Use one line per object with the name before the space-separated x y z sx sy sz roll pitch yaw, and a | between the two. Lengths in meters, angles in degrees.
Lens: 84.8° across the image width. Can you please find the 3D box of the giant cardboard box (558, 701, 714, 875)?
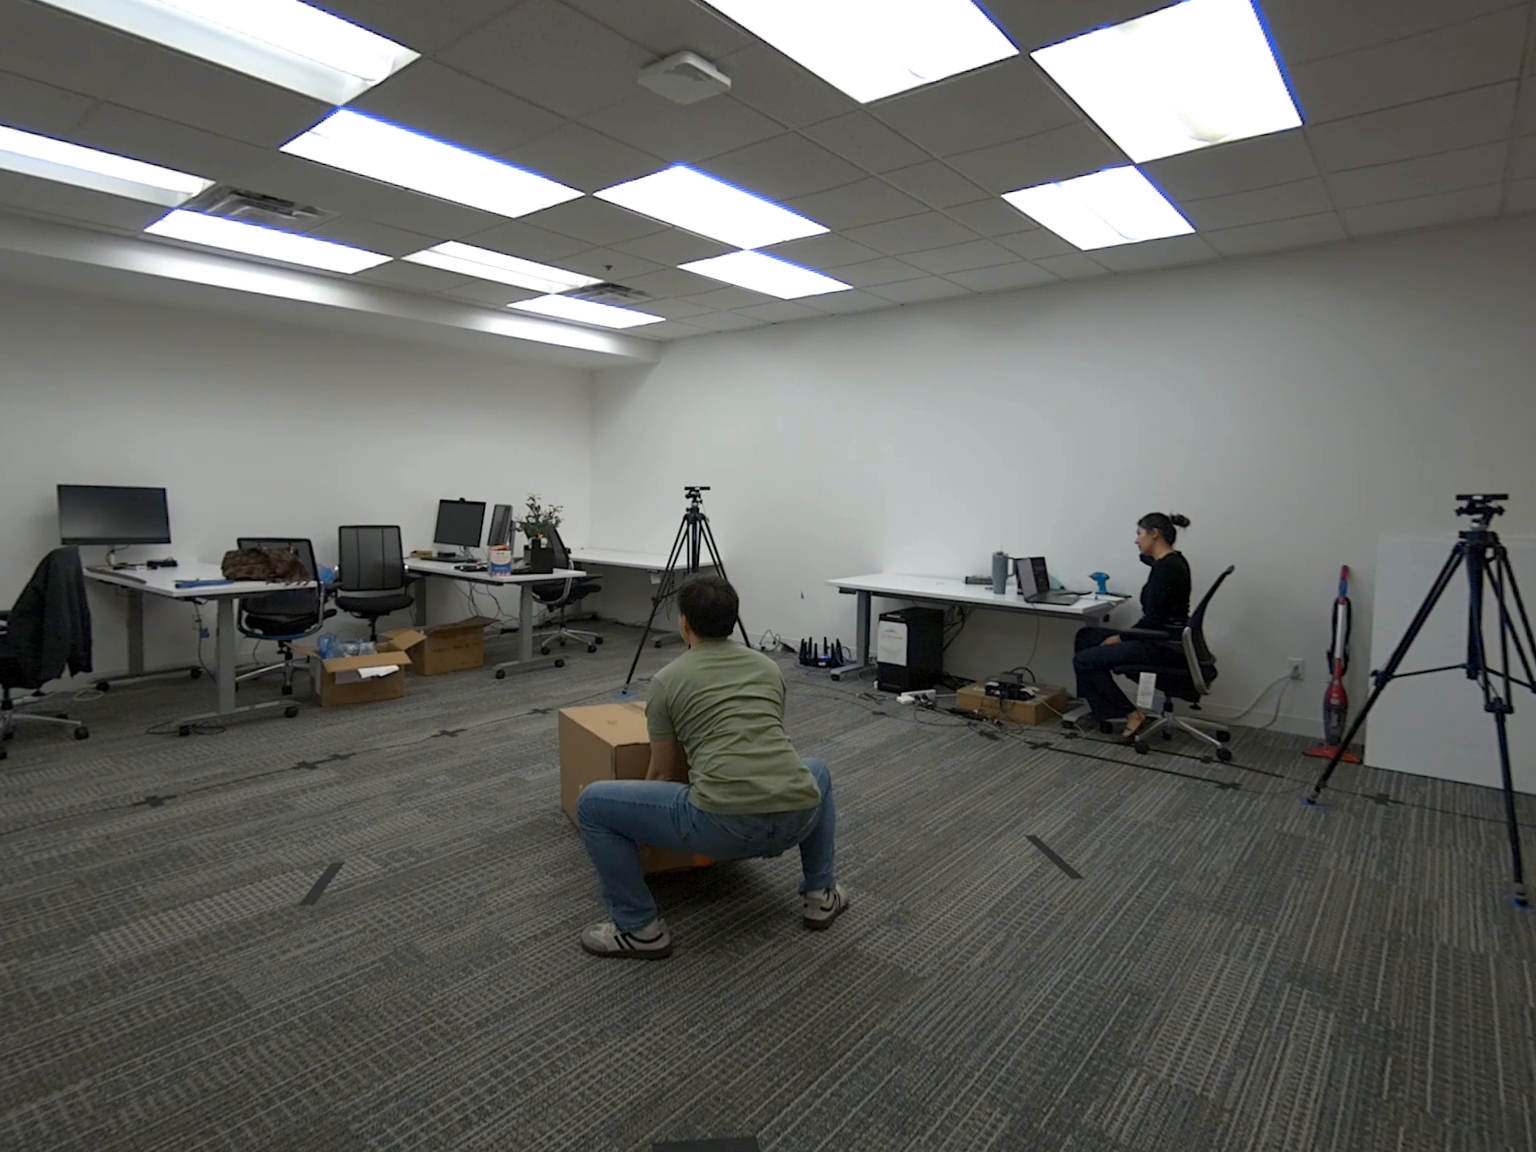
giant cardboard box | -0.448 0.758 3.328 0.565 0.427 1.046 -1 -1 -23
